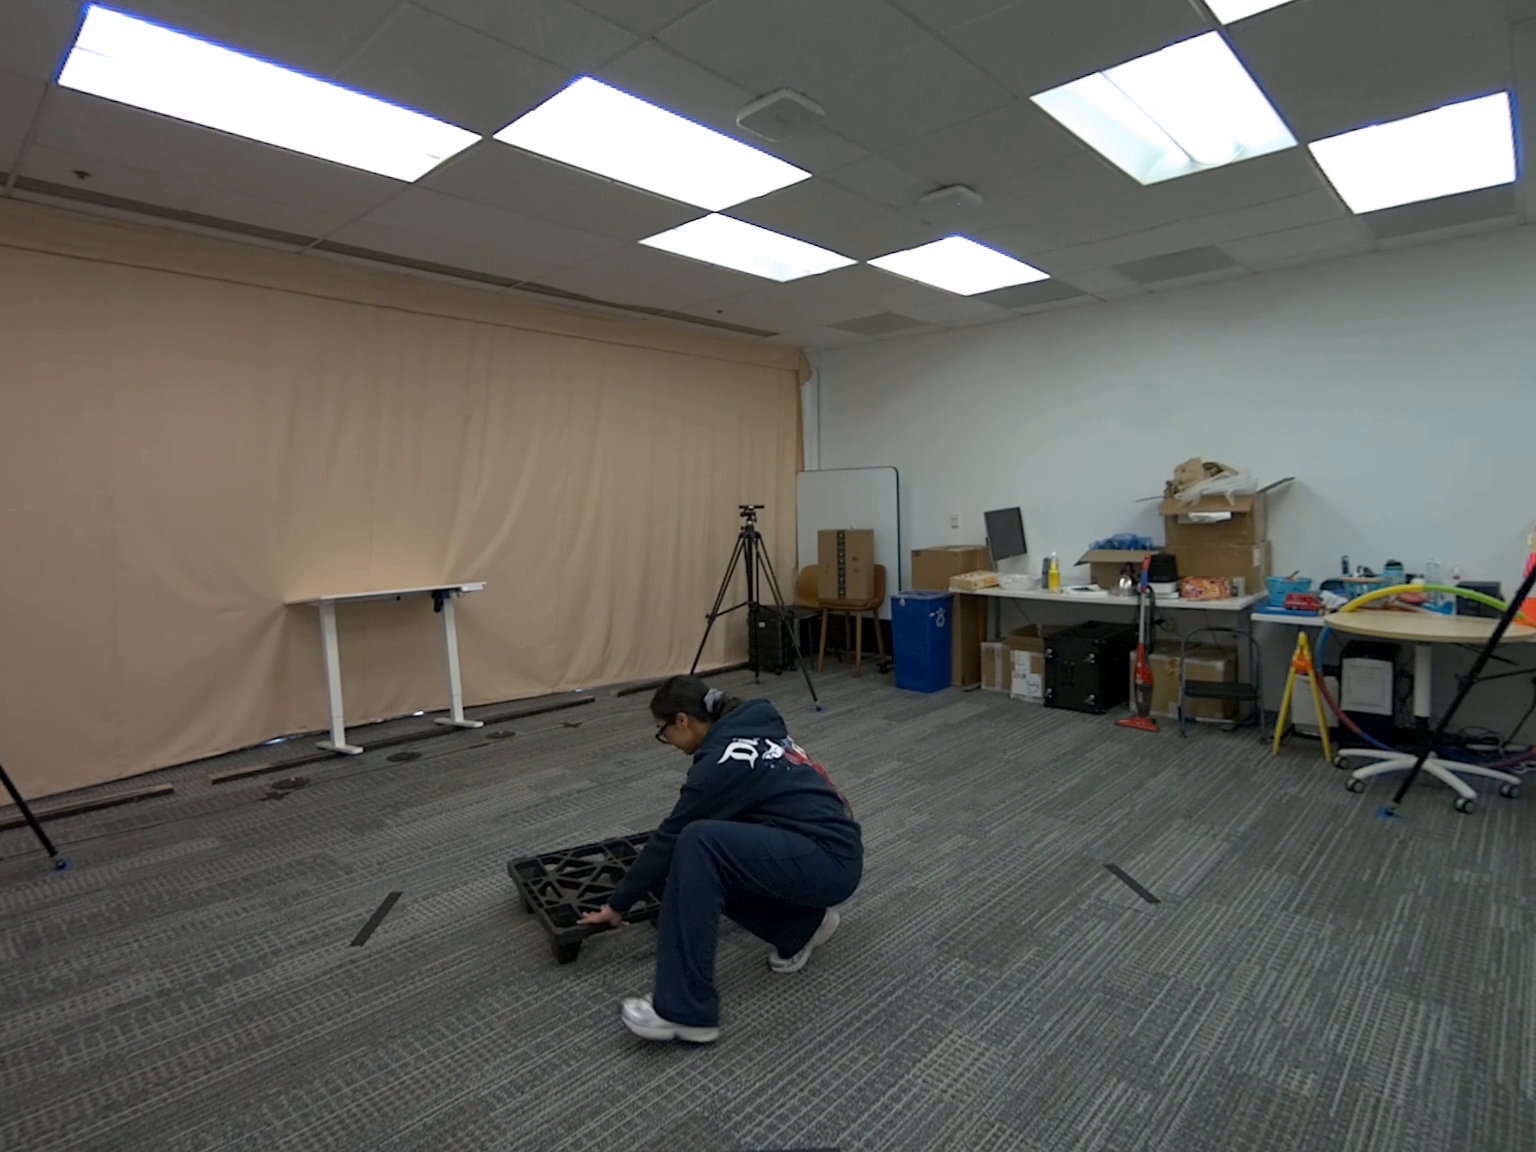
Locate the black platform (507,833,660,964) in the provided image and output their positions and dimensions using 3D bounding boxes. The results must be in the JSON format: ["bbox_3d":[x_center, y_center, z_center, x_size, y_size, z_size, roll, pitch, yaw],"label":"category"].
[{"bbox_3d":[-0.437,1.085,2.945,0.785,0.143,0.622,-4,6,-29],"label":"black platform"}]
